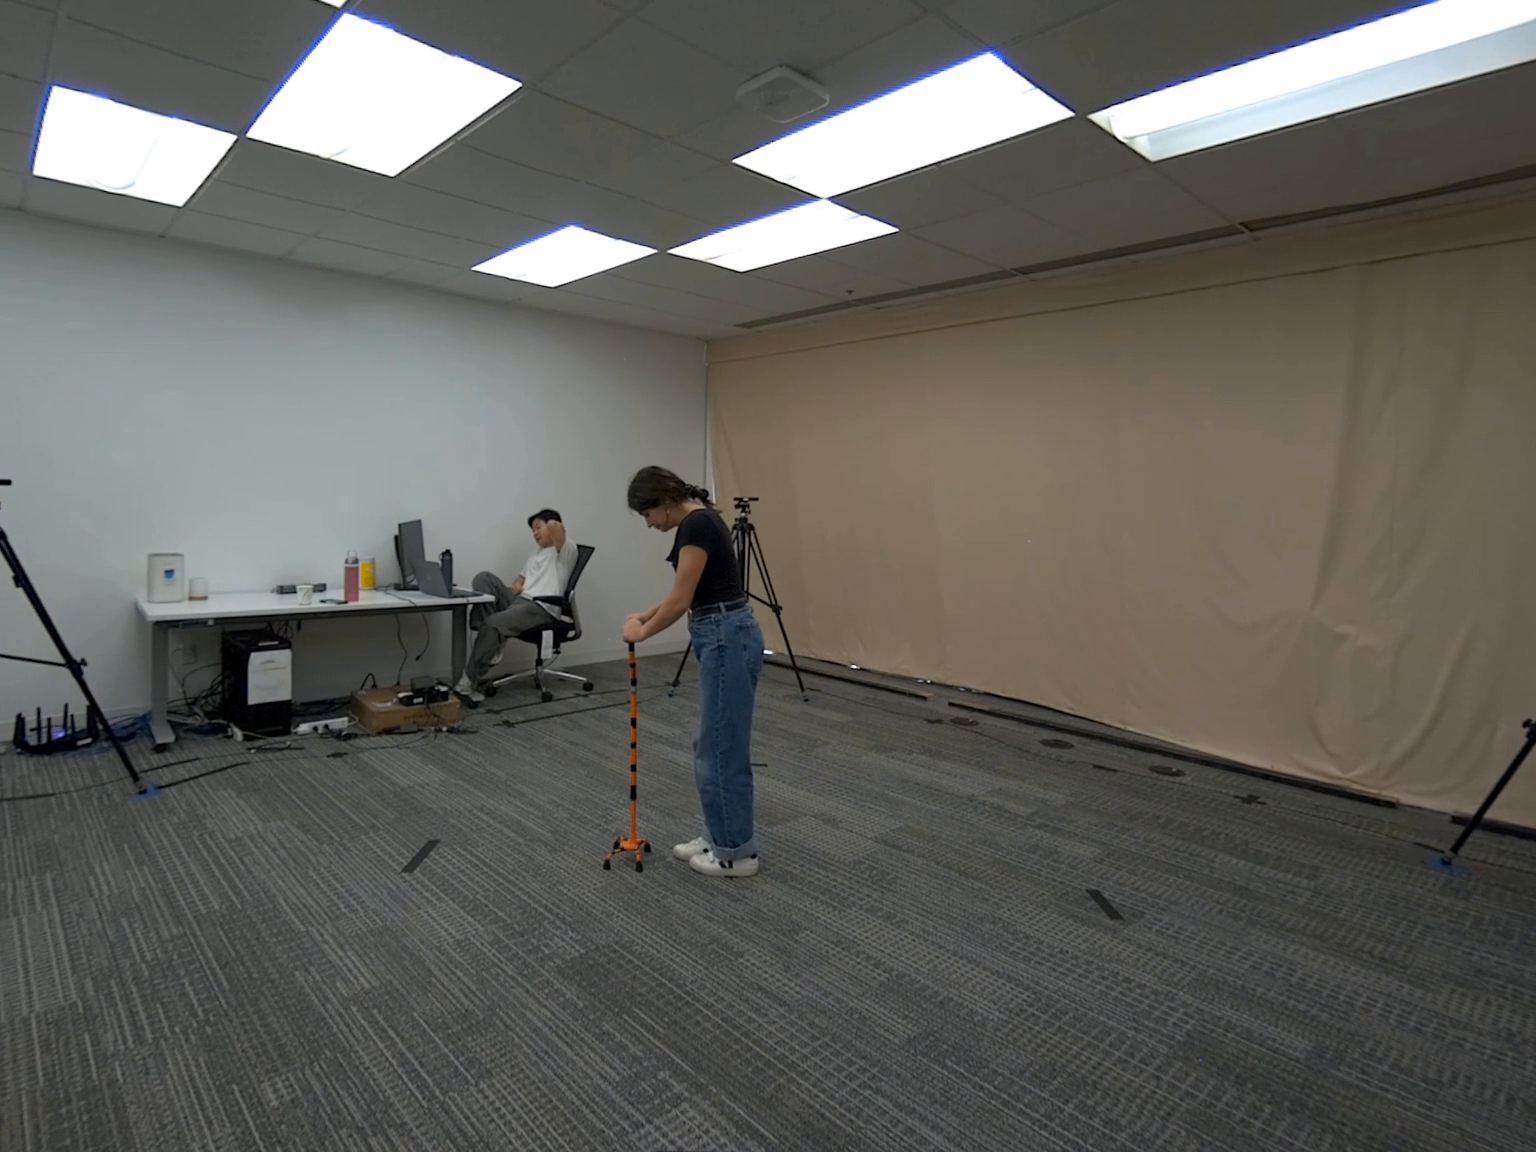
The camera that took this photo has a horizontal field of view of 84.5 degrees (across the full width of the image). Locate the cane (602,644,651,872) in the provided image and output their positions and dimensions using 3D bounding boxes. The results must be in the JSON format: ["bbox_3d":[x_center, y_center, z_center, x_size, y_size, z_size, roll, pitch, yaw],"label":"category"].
[{"bbox_3d":[-0.533,0.629,3.206,0.152,0.906,0.206,0,3,2],"label":"cane"}]
